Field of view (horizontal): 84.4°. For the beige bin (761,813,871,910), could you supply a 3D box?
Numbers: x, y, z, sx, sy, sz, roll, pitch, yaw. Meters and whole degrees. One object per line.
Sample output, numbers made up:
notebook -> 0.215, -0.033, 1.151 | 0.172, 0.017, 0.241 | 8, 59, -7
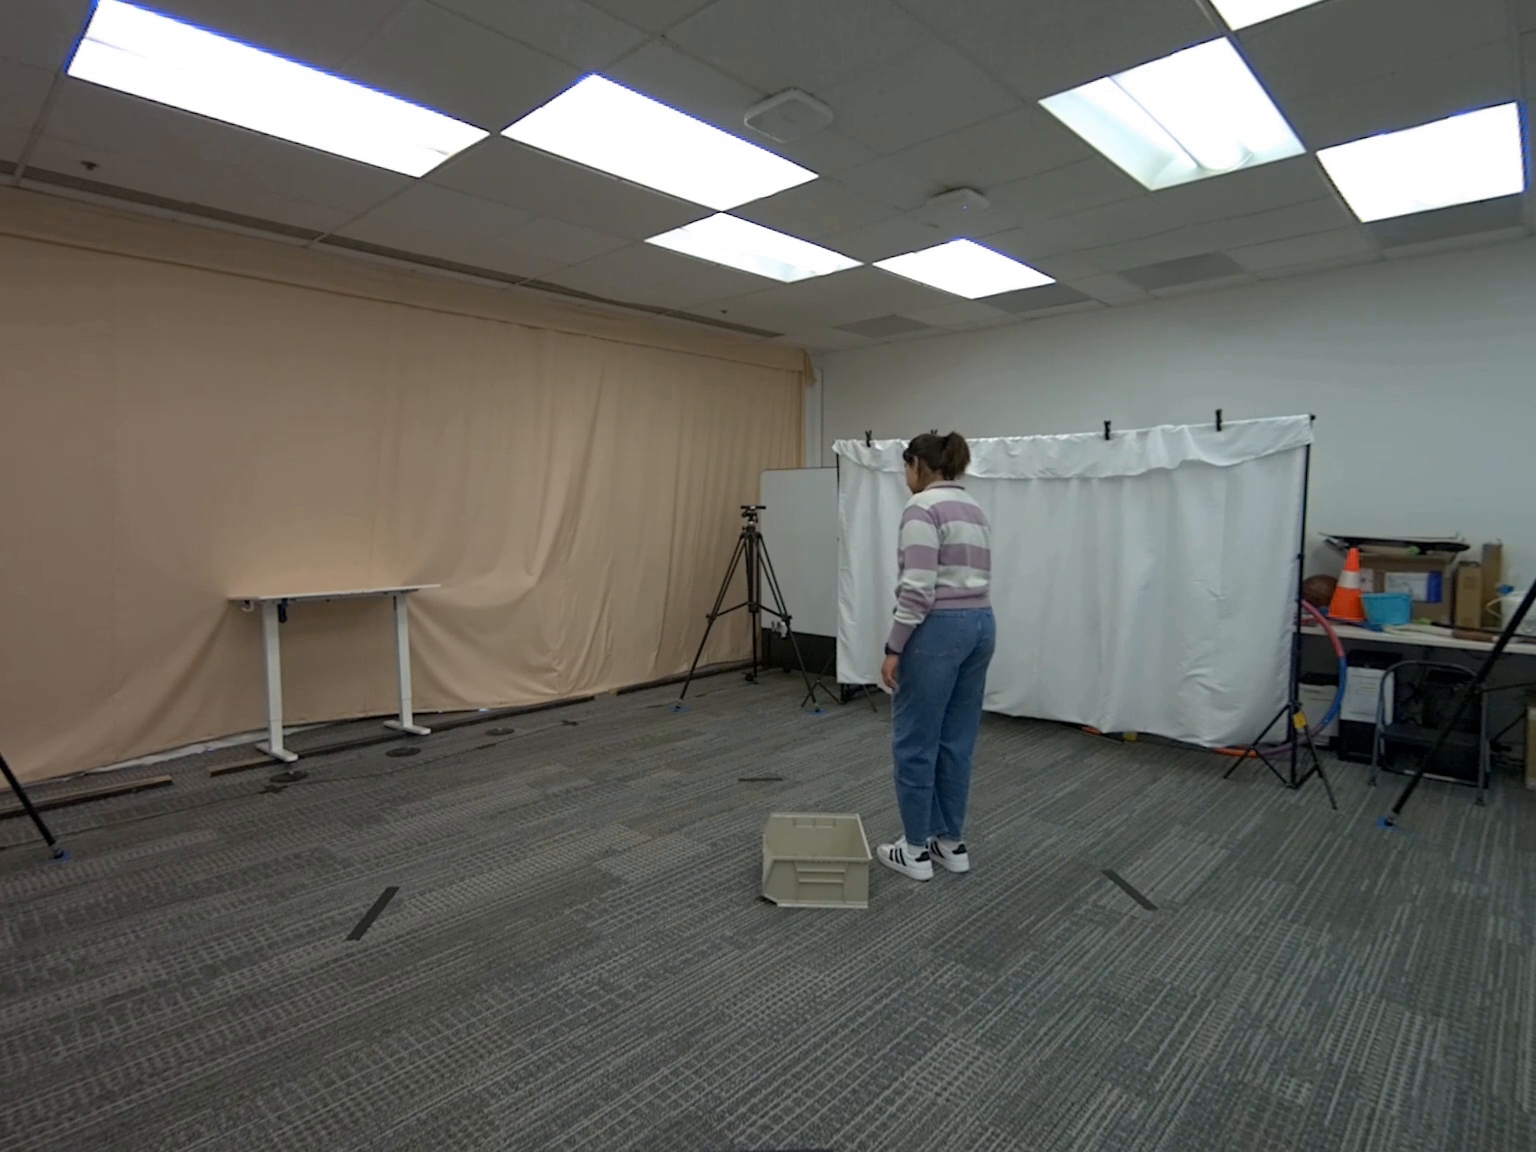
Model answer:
beige bin -> 0.170, 1.043, 3.112 | 0.378, 0.188, 0.422 | 0, 4, 1
